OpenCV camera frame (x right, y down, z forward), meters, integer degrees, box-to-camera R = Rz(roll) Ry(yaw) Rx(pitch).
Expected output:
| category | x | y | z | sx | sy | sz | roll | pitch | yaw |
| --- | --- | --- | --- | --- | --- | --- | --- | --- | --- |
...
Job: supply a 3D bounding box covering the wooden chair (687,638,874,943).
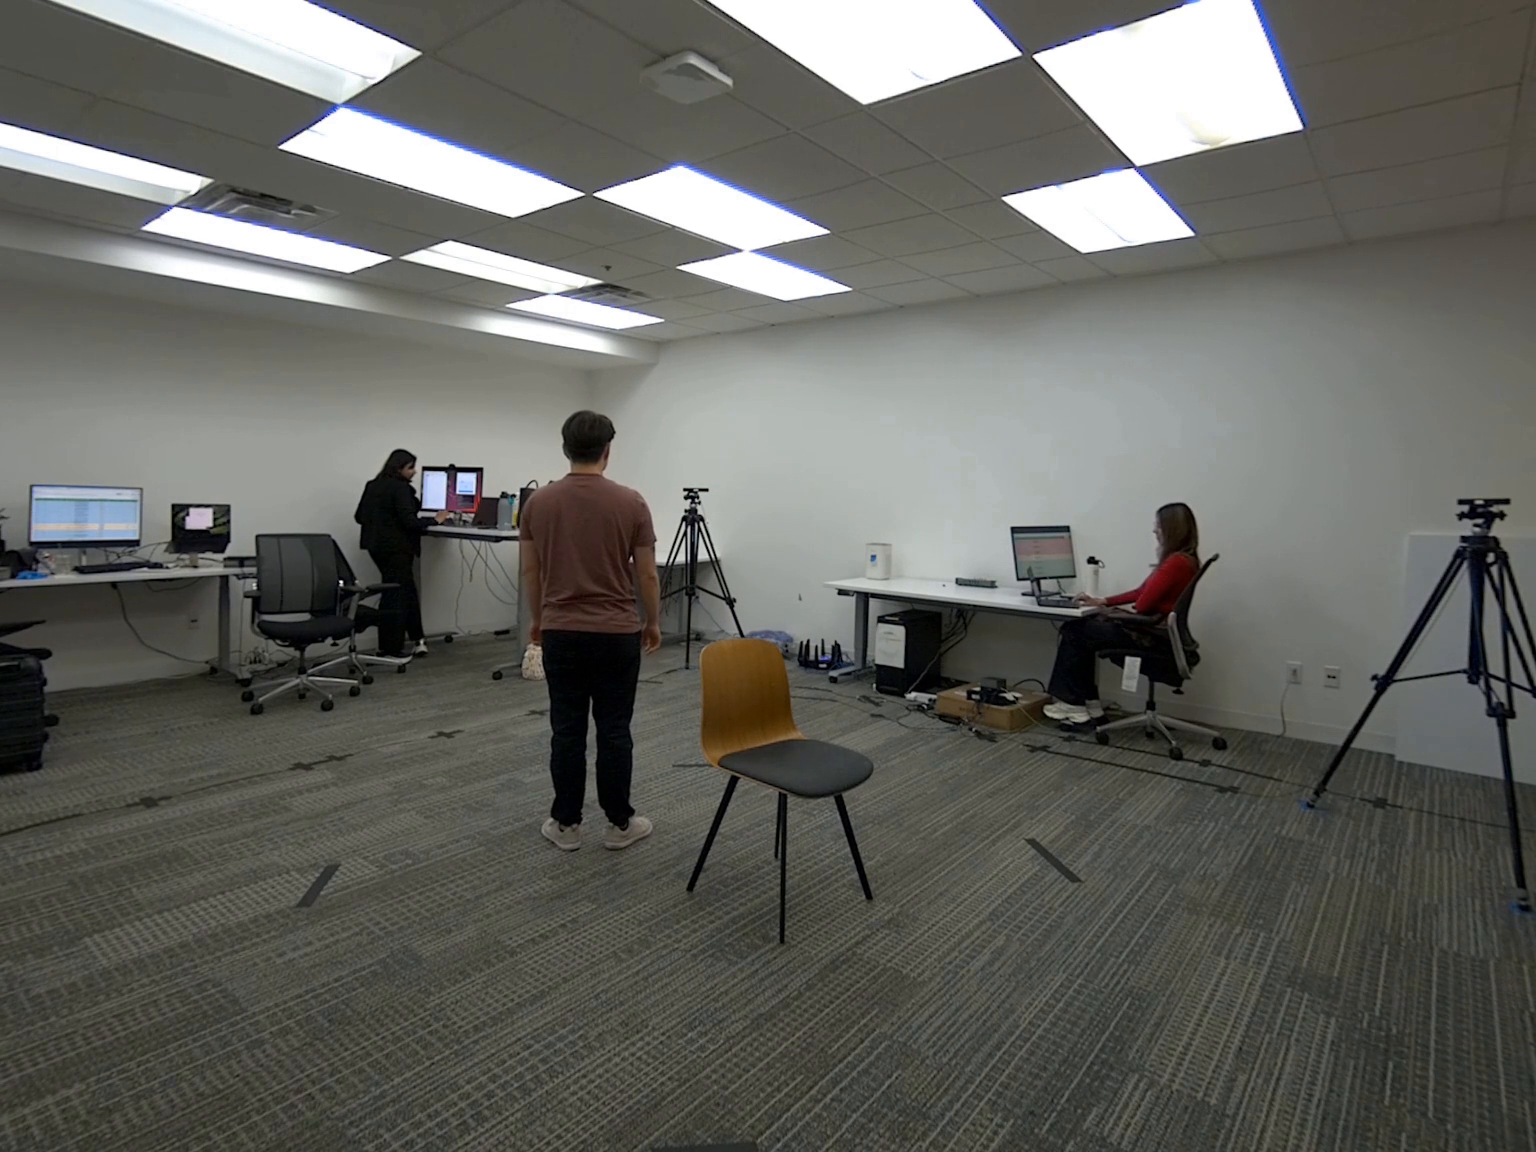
| category | x | y | z | sx | sy | sz | roll | pitch | yaw |
| --- | --- | --- | --- | --- | --- | --- | --- | --- | --- |
| wooden chair | 0.046 | 0.667 | 2.883 | 0.463 | 0.878 | 0.539 | -1 | 0 | -44 |
